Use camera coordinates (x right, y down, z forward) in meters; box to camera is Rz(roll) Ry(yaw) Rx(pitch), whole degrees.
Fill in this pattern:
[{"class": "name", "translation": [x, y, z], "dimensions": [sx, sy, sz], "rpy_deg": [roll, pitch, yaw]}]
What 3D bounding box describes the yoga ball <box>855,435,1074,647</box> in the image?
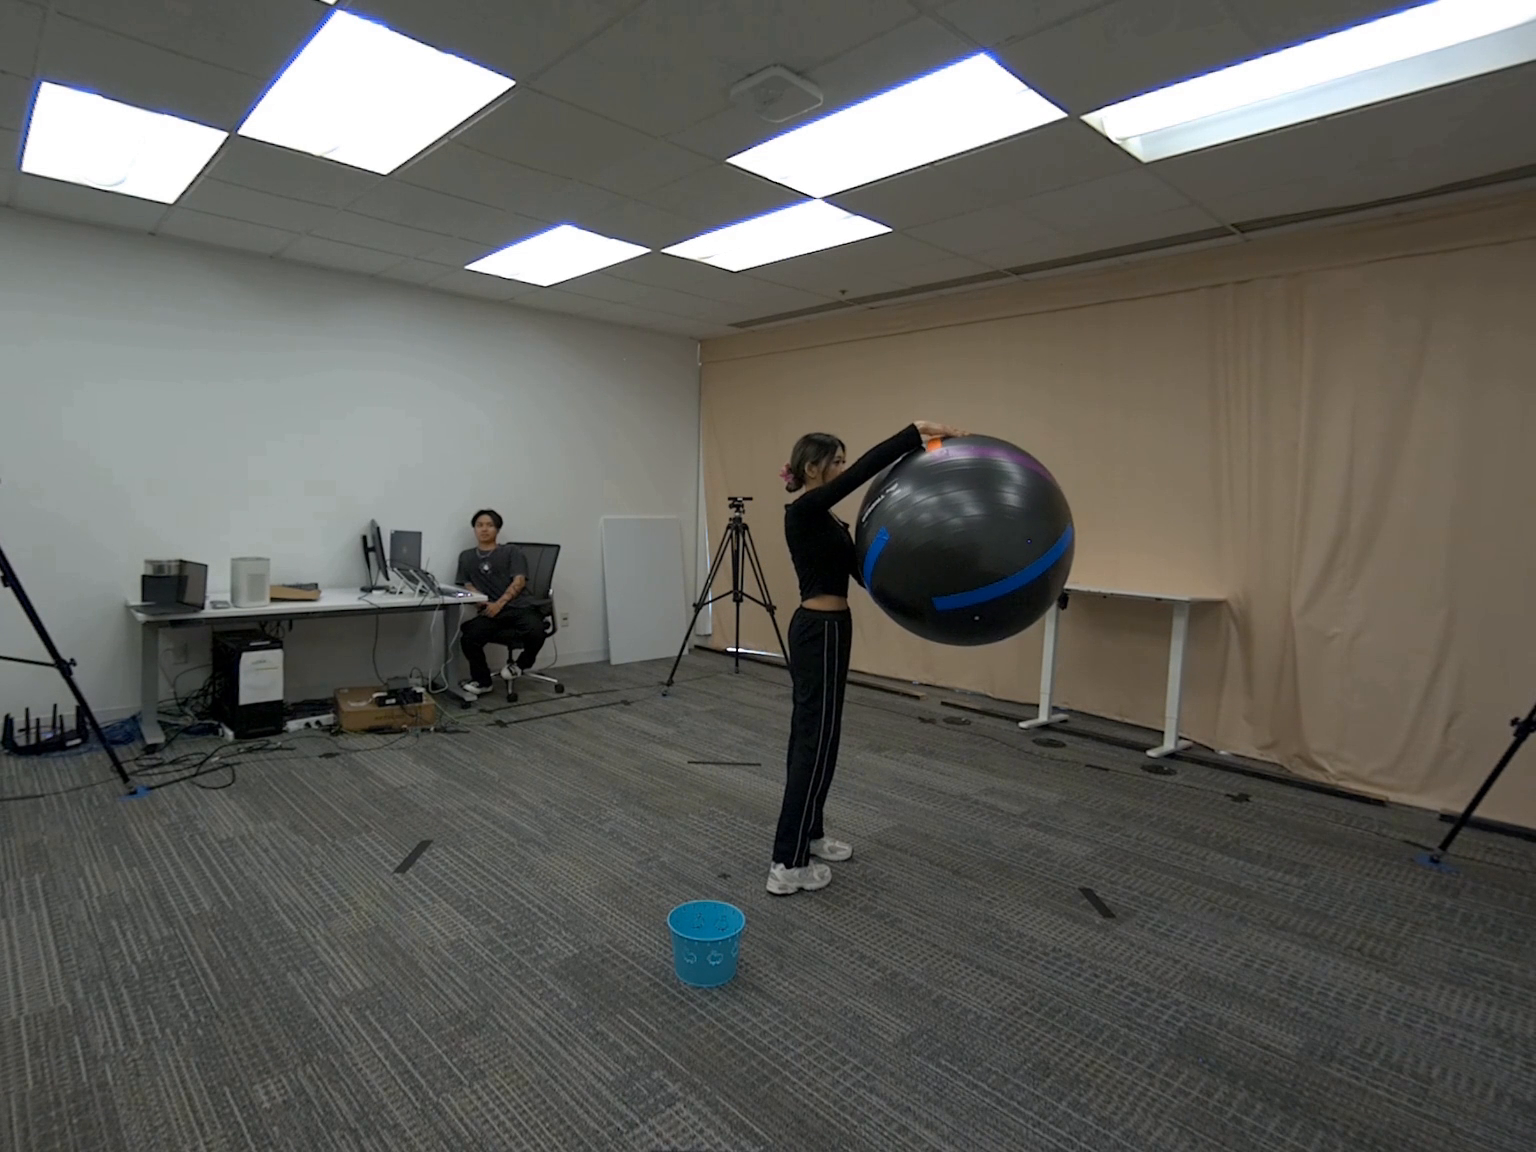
[{"class": "yoga ball", "translation": [0.693, -0.124, 3.014], "dimensions": [0.757, 0.756, 0.761], "rpy_deg": [1, 4, -1]}]
